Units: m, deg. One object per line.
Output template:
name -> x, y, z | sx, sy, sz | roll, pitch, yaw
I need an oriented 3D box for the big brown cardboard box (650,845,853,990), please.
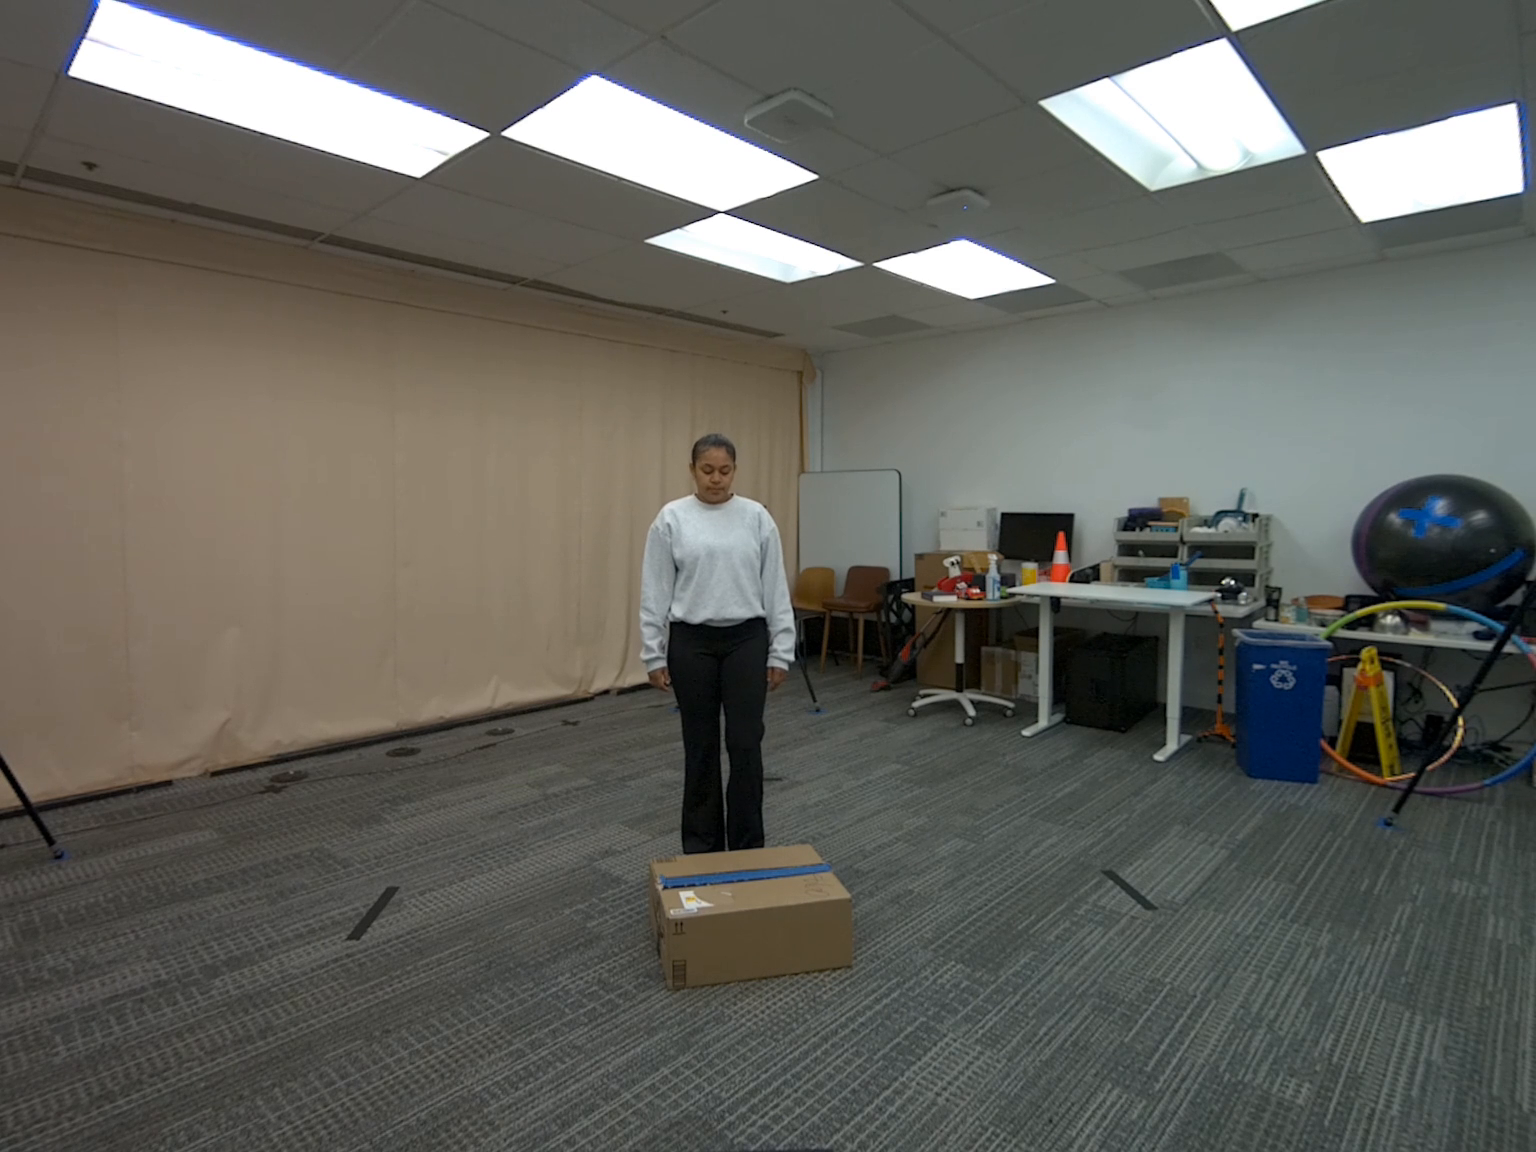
big brown cardboard box -> -0.069, 1.057, 2.665 | 0.581, 0.232, 0.424 | 0, 4, -14
